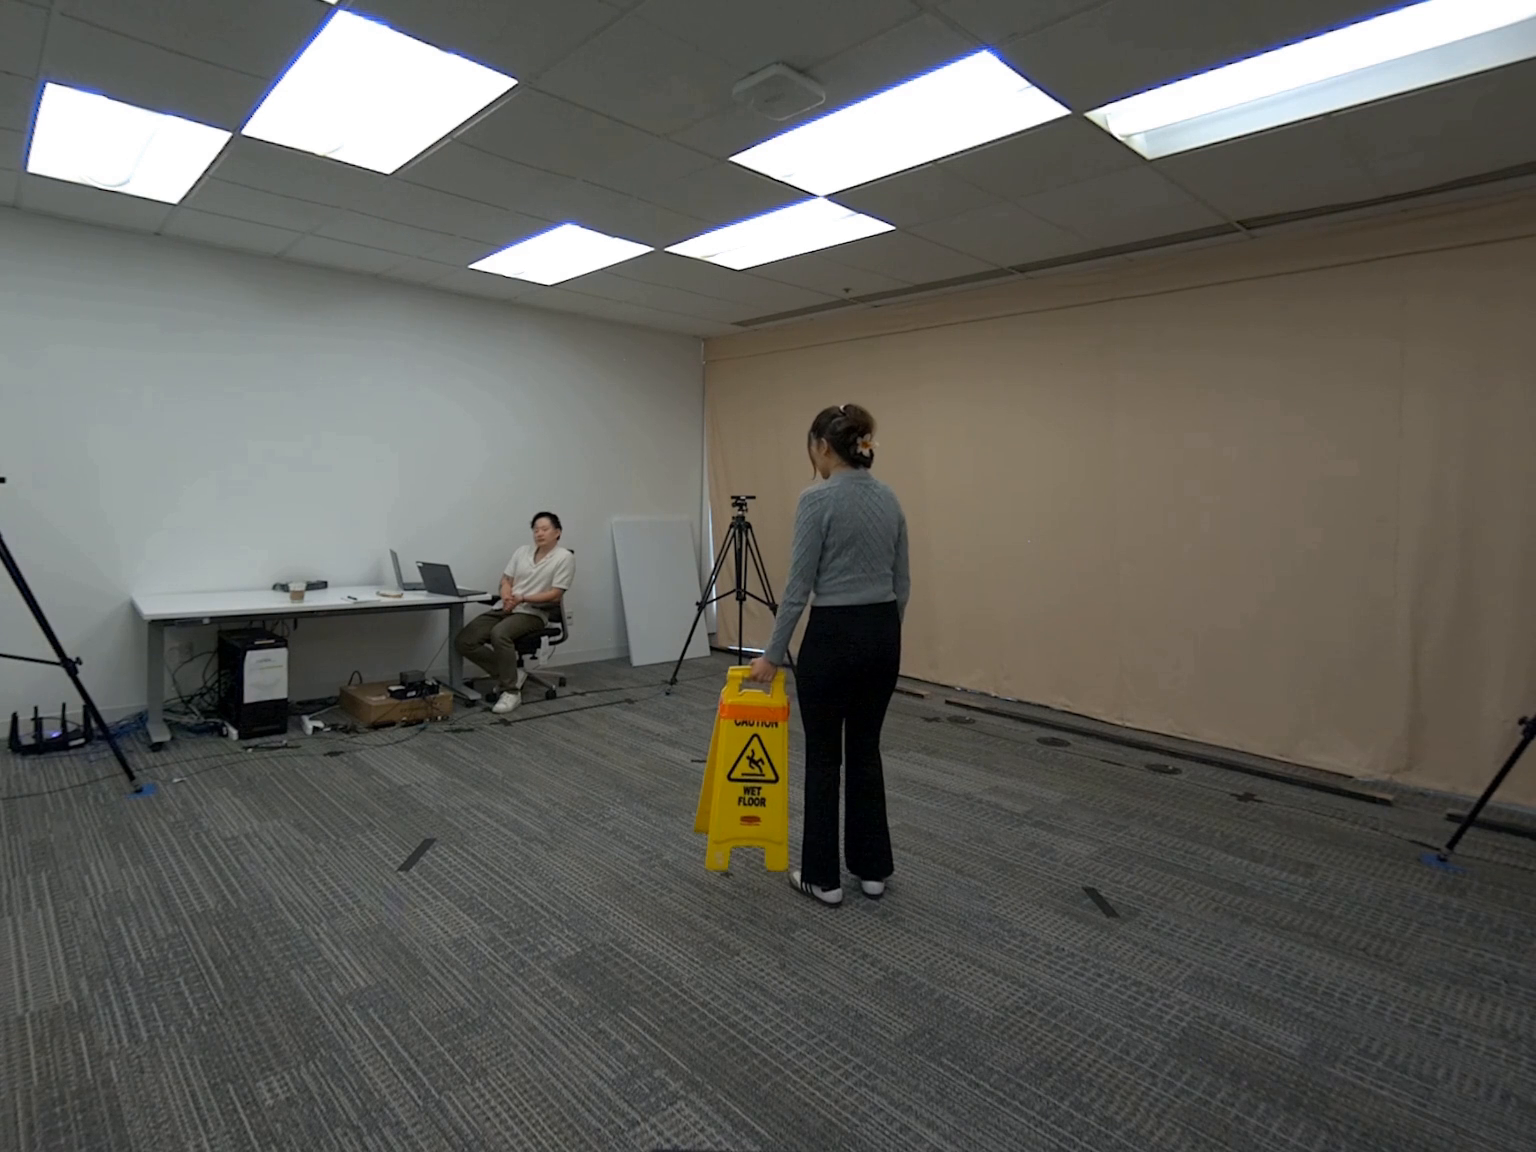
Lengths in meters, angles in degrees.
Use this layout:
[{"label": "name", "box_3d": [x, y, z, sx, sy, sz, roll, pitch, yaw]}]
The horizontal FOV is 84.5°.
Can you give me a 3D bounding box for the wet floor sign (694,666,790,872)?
[{"label": "wet floor sign", "box_3d": [-0.077, 0.637, 2.898, 0.279, 0.644, 0.293, 5, 4, -12]}]
